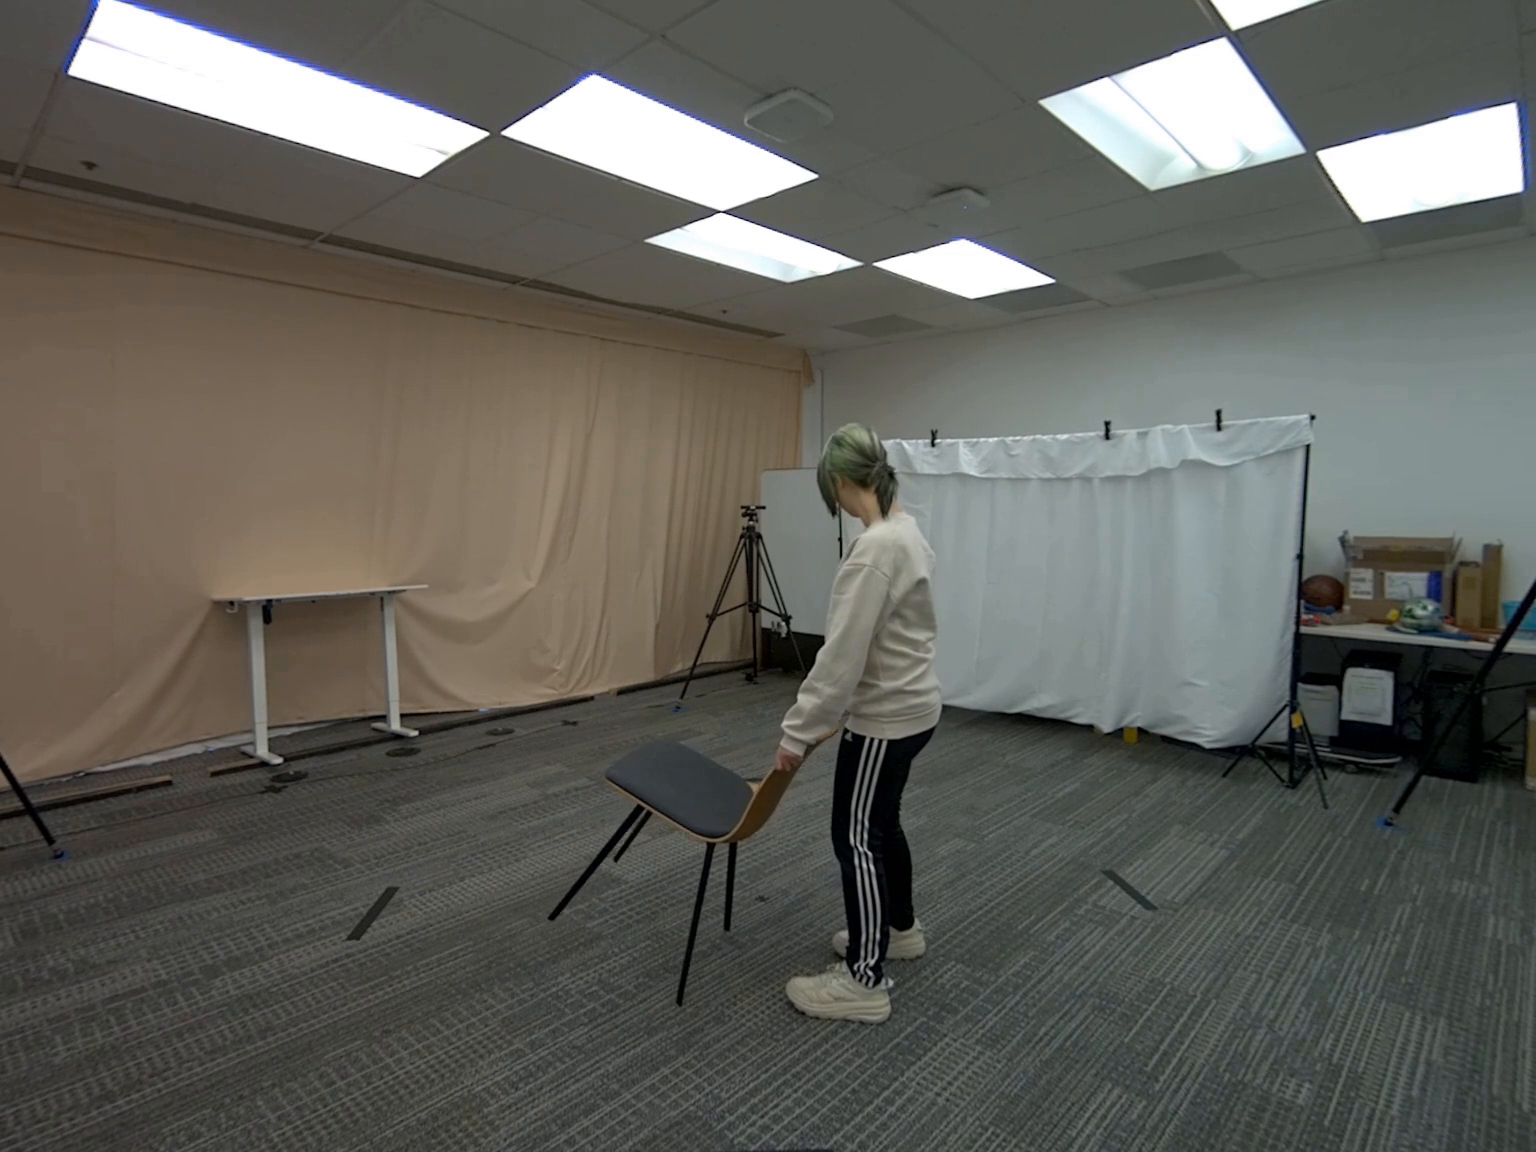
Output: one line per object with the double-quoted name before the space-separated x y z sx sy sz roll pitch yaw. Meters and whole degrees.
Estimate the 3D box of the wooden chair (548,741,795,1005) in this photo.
"wooden chair" -0.223 0.700 2.539 0.533 0.876 0.470 30 12 14
